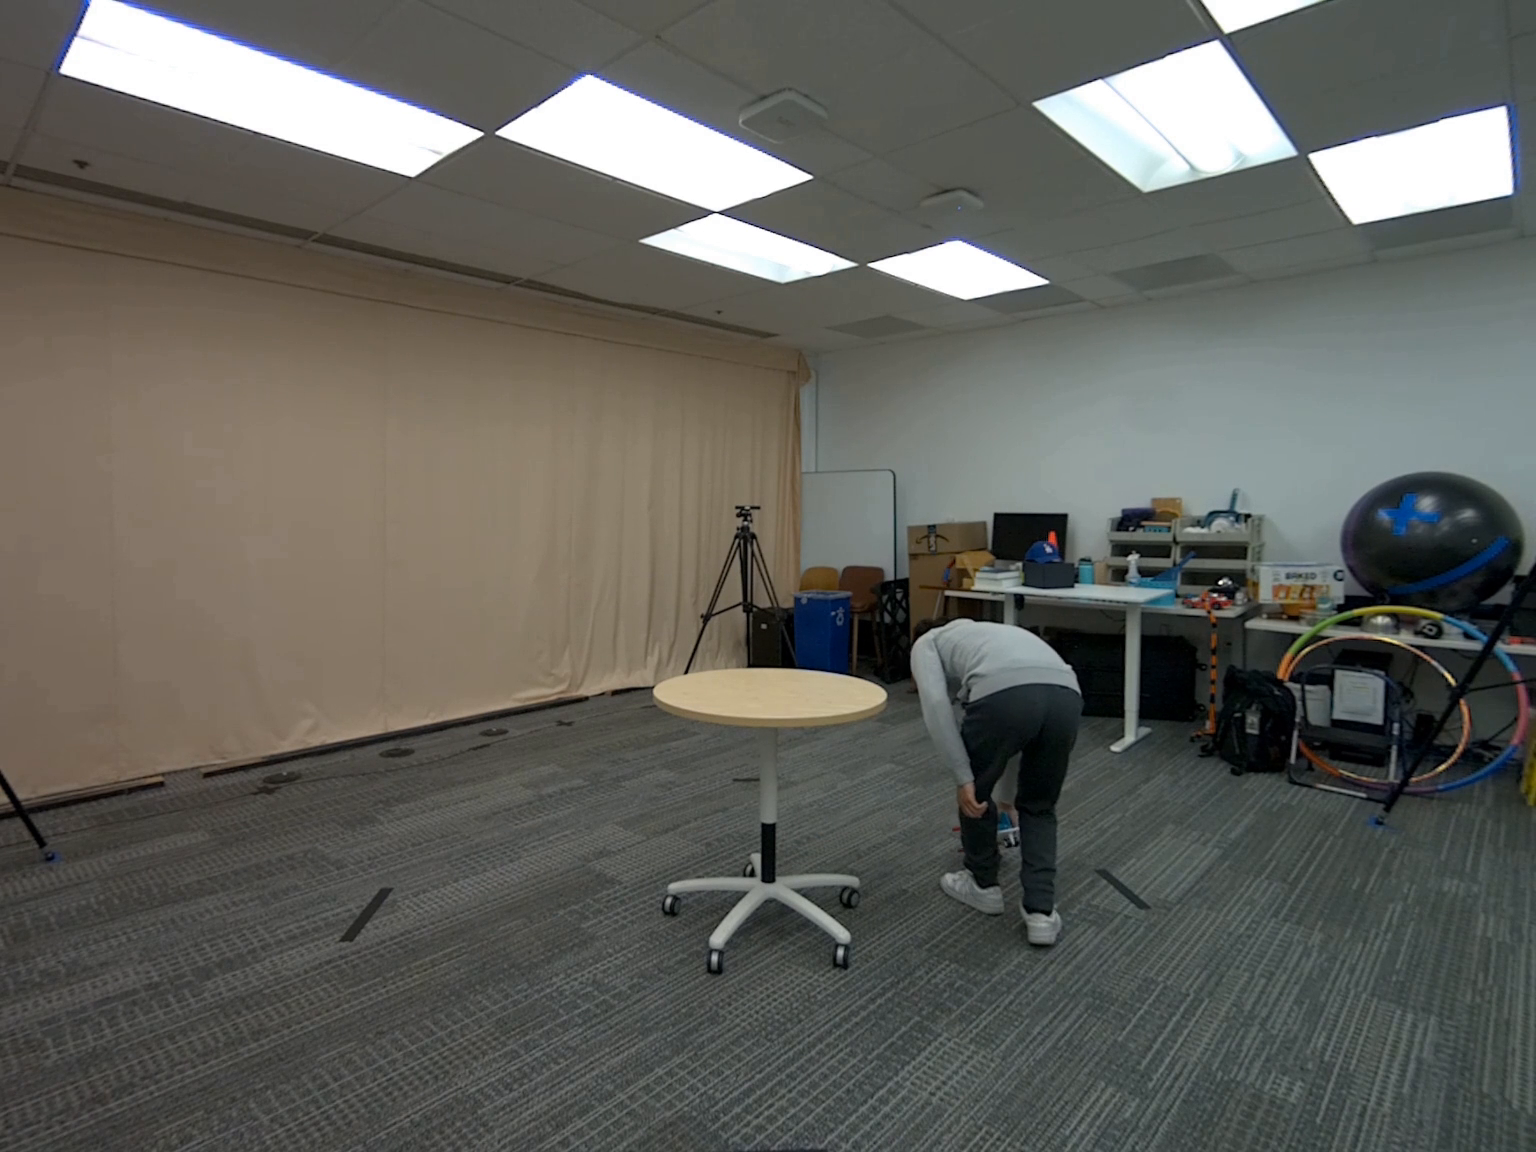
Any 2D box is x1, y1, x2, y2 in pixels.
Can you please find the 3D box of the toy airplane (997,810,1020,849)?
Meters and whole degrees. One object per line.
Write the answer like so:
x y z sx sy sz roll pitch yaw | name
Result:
0.879 1.008 3.251 0.262 0.160 0.242 -37 -38 28 | toy airplane
